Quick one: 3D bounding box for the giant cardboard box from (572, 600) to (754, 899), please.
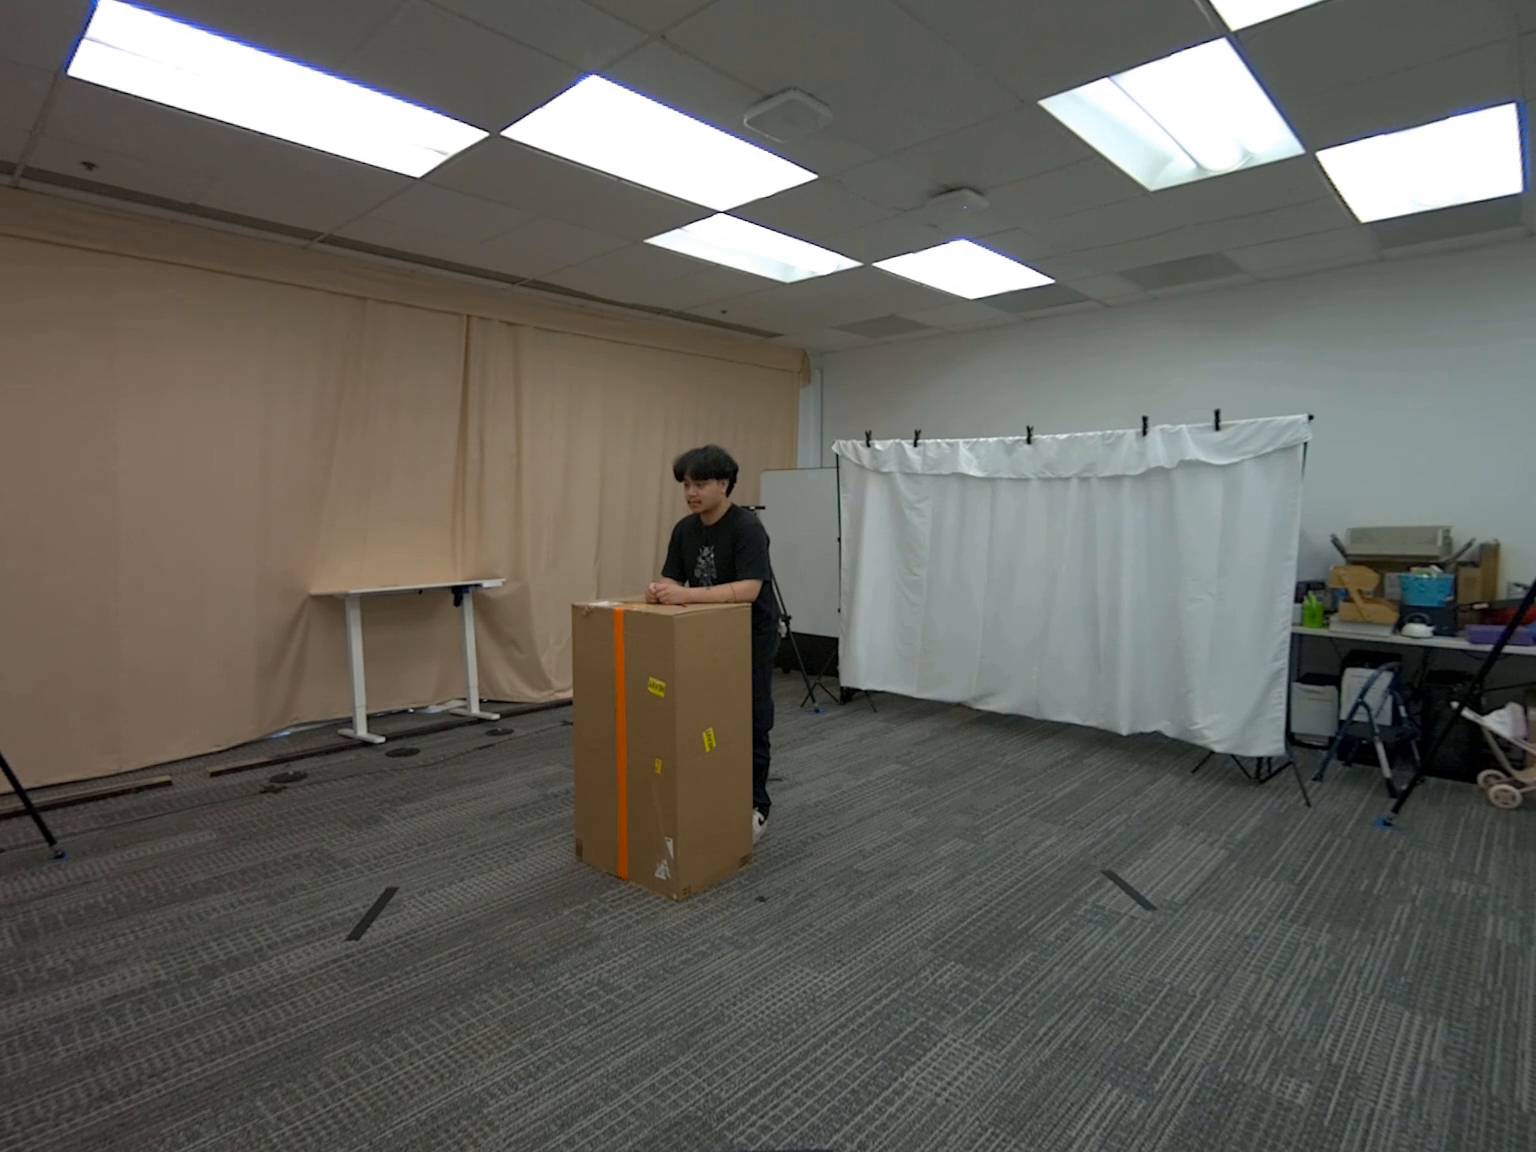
[{"bbox_3d":[-0.418,0.612,3.280,0.603,1.025,0.433,2,5,41],"label":"giant cardboard box"}]
